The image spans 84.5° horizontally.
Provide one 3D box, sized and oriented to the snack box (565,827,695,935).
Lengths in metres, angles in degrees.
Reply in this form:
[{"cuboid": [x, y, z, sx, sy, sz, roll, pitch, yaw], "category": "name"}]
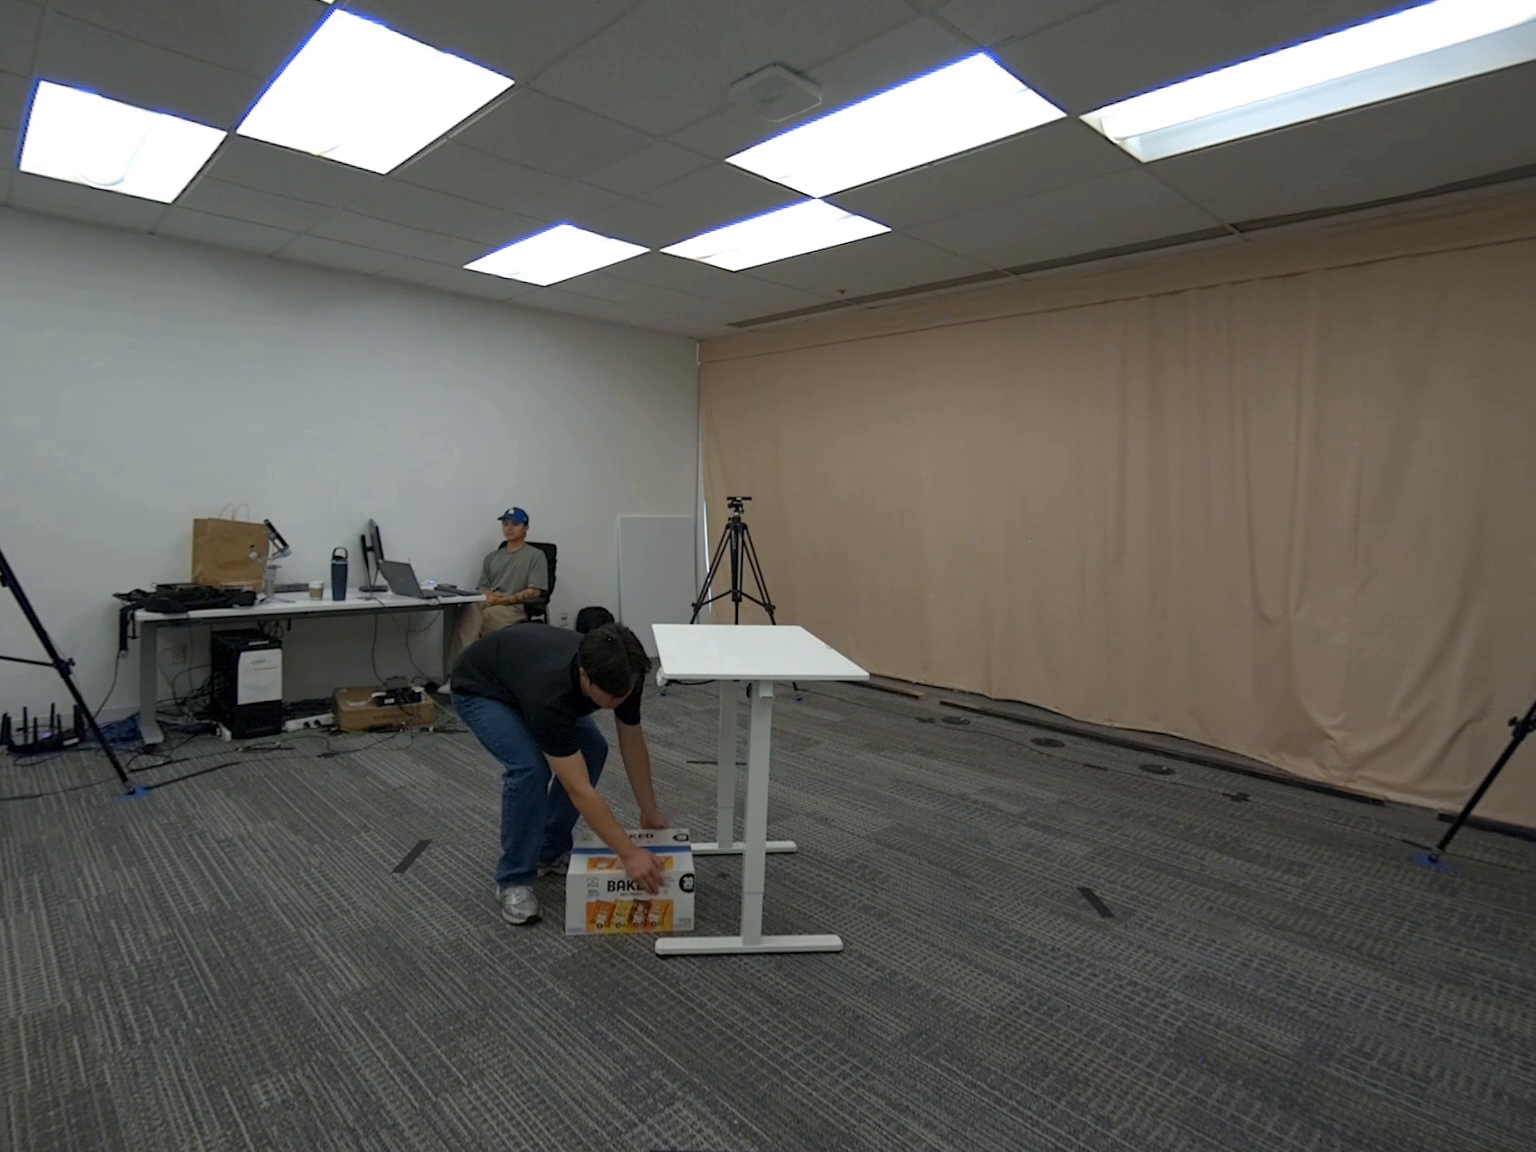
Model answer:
[{"cuboid": [-0.462, 1.022, 2.833, 0.403, 0.205, 0.343, 0, 5, -7], "category": "snack box"}]
